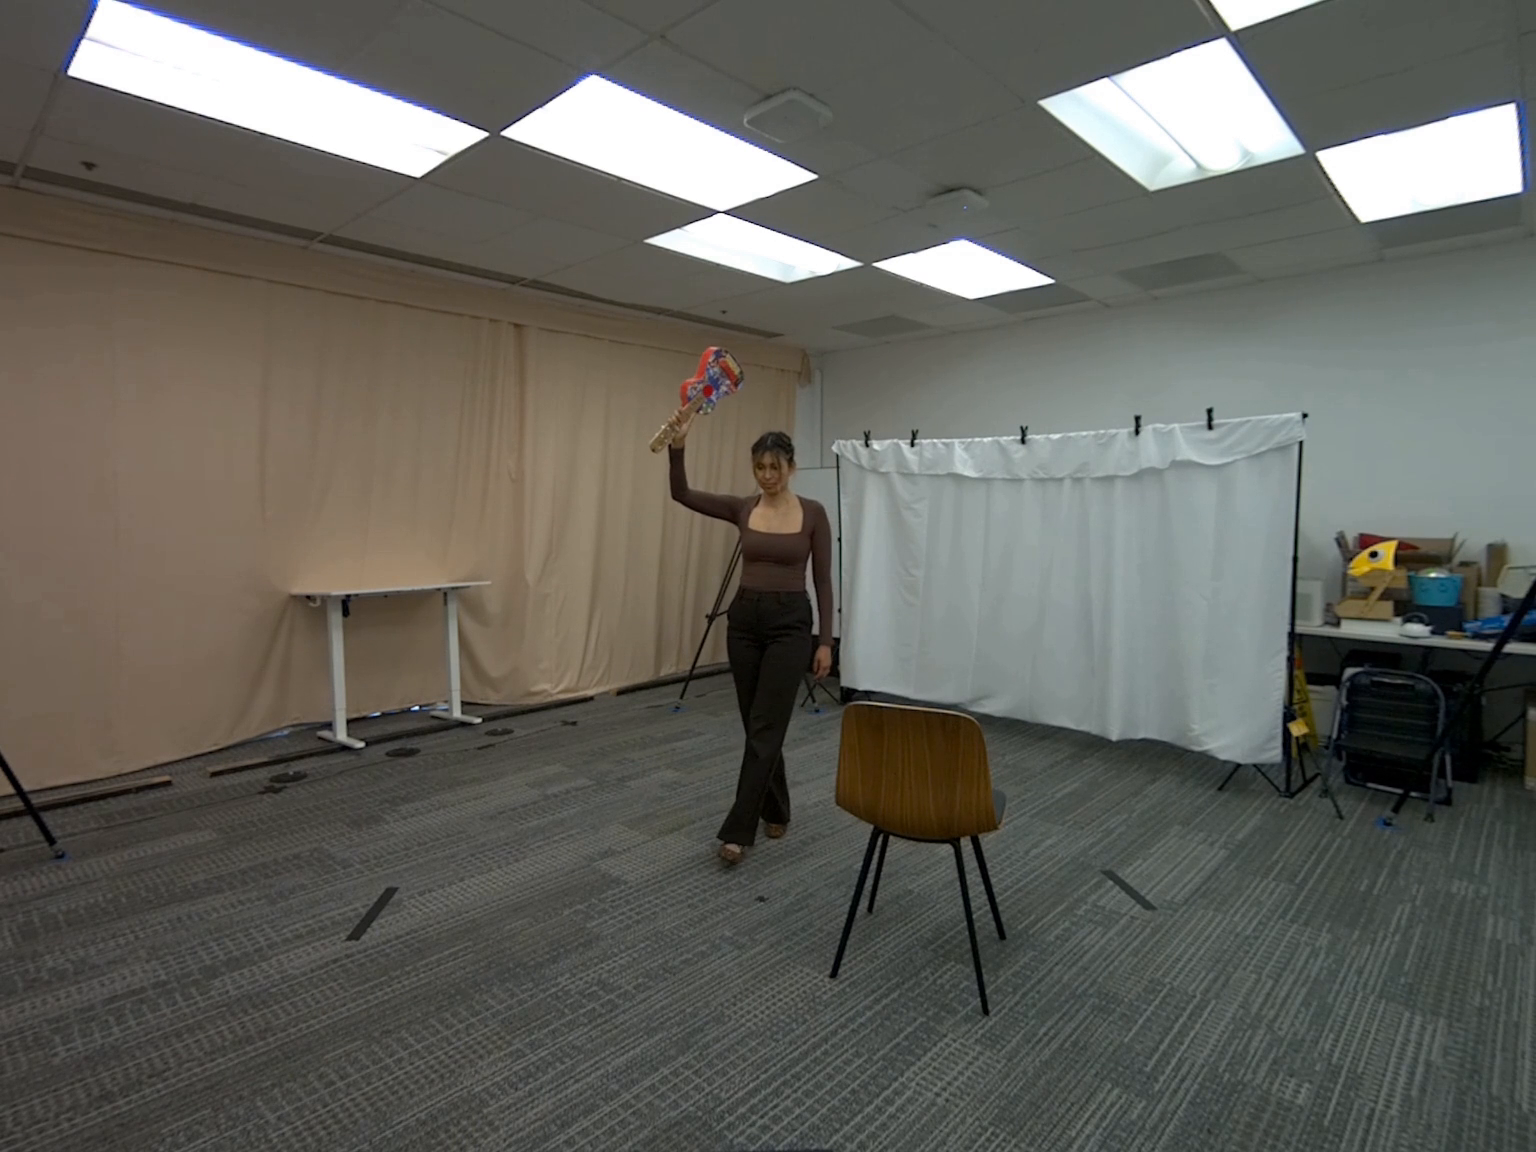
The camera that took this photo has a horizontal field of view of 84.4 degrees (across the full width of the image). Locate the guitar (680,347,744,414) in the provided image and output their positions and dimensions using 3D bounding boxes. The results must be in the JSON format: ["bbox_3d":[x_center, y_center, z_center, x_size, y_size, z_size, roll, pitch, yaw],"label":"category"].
[{"bbox_3d":[-0.305,-0.689,3.262,0.495,0.188,0.073,-42,30,-16],"label":"guitar"}]
